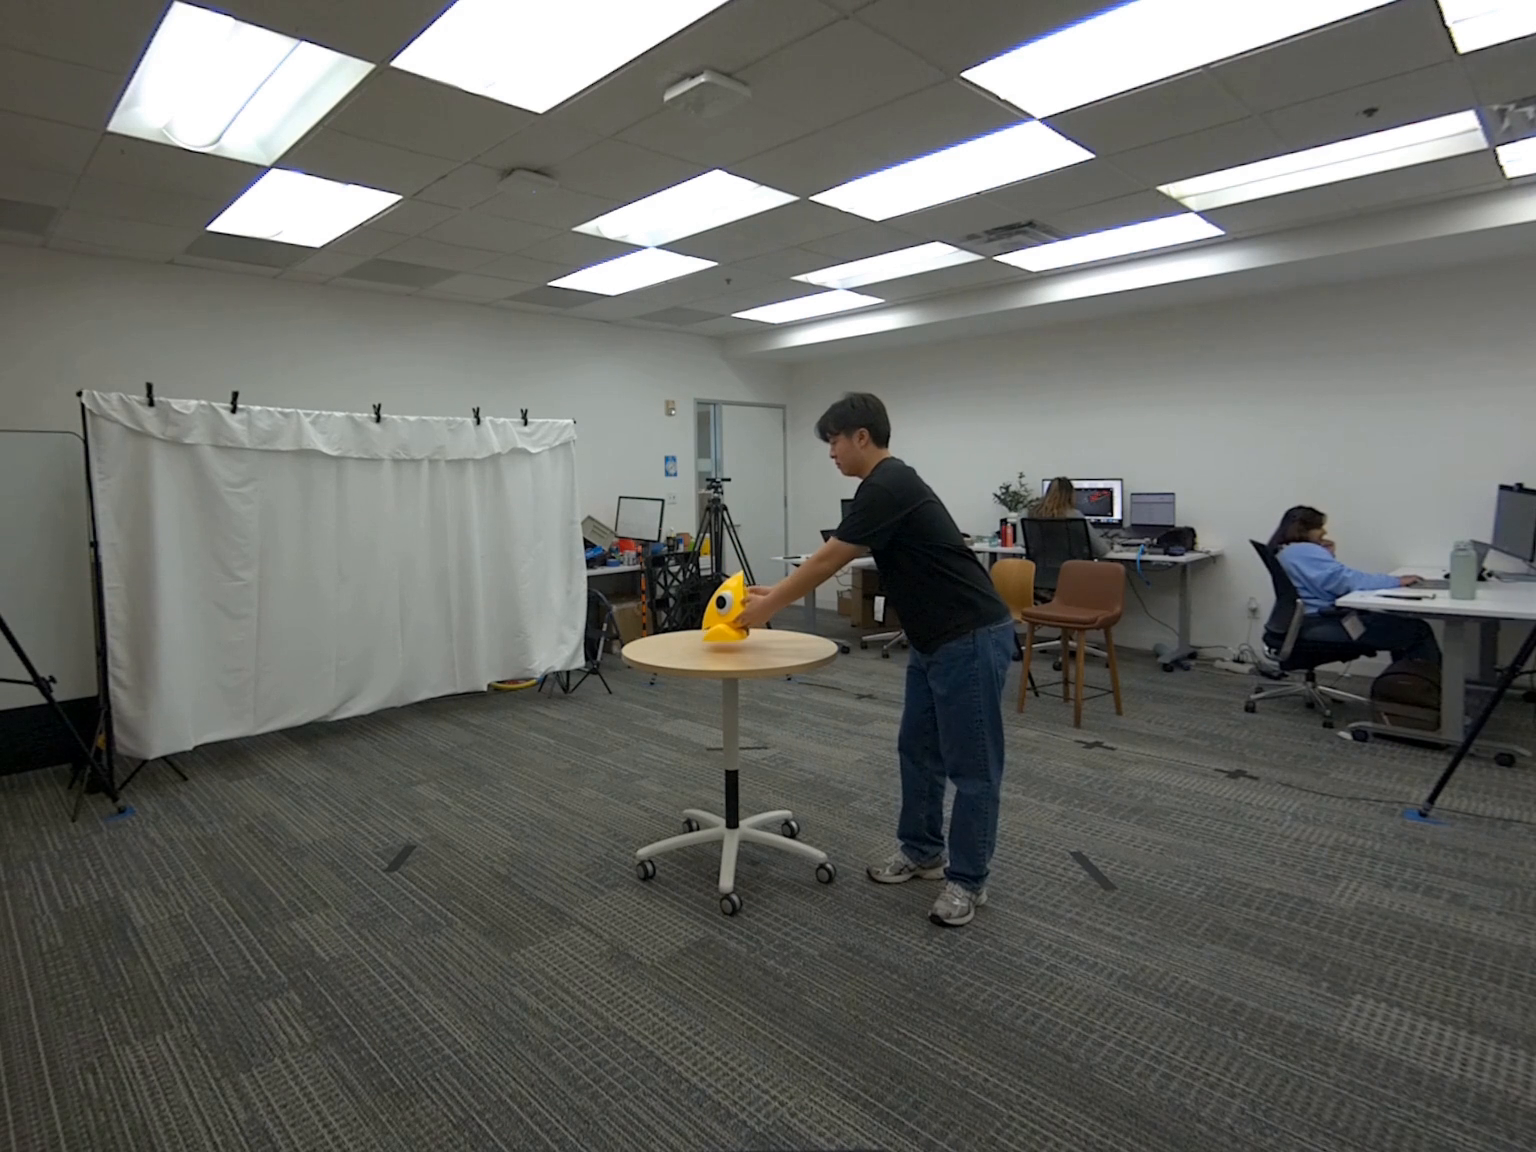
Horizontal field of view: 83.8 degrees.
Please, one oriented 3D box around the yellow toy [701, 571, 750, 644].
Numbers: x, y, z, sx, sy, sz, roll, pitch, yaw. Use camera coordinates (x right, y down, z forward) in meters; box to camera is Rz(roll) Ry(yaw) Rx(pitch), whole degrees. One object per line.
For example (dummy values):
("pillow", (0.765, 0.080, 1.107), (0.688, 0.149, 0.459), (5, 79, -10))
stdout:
("yellow toy", (-0.138, 0.091, 3.004), (0.194, 0.229, 0.204), (-3, 6, 6))
